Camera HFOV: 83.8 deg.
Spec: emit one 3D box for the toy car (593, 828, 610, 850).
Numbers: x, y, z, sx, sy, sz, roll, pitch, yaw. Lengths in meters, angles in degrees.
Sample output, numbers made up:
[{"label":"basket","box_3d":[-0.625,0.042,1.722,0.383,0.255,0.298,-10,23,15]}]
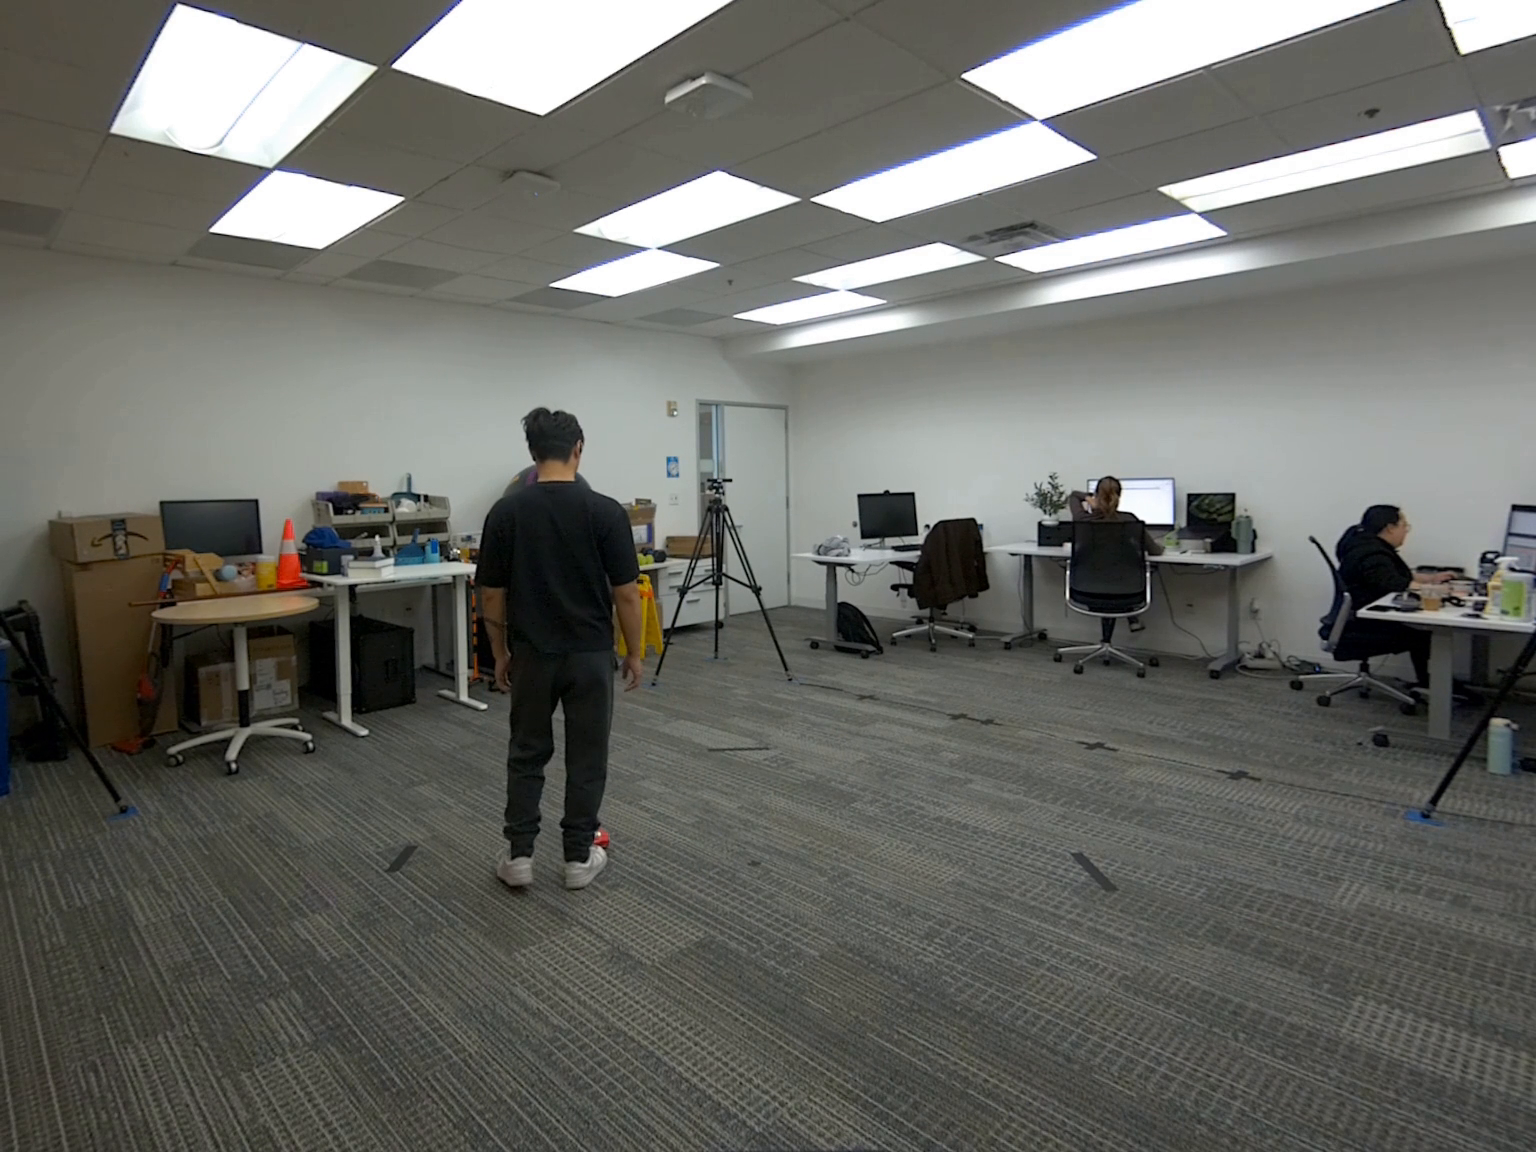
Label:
[{"label":"toy car","box_3d":[-0.689,1.007,3.296,0.127,0.084,0.258,-3,-5,-26]}]
